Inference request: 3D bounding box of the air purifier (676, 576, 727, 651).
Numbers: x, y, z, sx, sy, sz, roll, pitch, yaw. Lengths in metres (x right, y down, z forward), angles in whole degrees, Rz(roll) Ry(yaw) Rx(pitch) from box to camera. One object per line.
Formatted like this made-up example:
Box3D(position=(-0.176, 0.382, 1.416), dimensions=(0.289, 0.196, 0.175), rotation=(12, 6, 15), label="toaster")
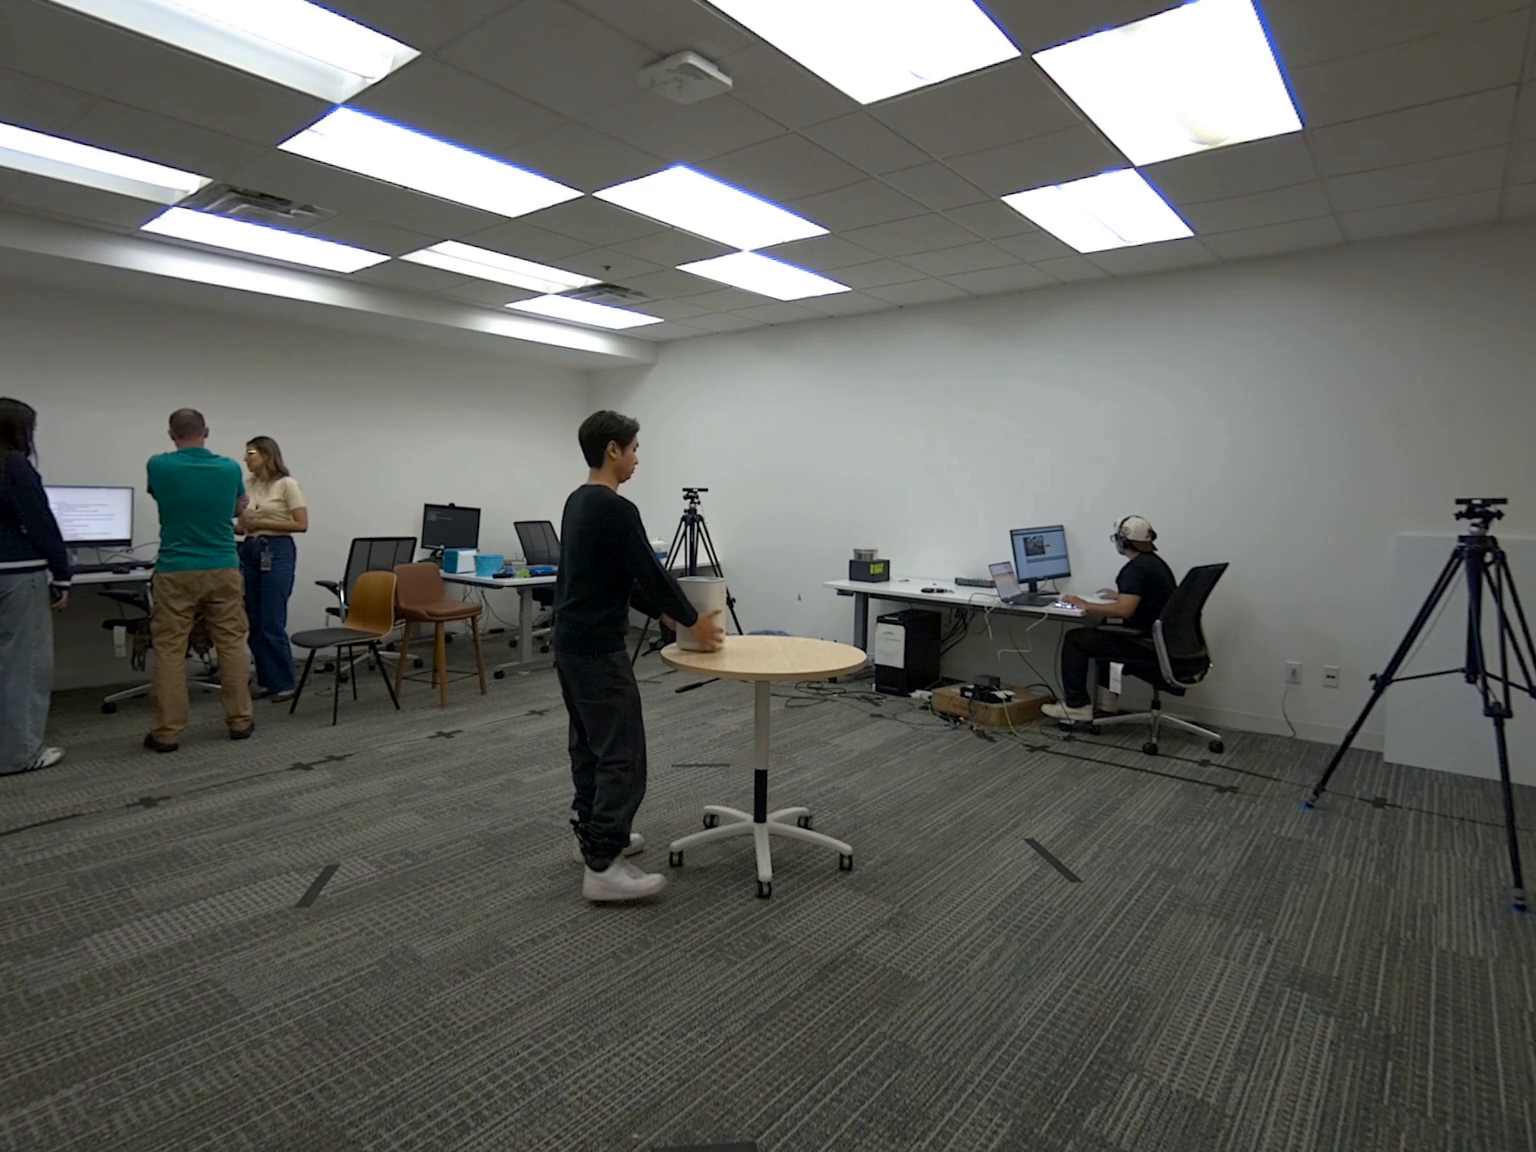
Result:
Box3D(position=(-0.268, 0.143, 3.240), dimensions=(0.175, 0.265, 0.168), rotation=(2, 2, 18), label="air purifier")
